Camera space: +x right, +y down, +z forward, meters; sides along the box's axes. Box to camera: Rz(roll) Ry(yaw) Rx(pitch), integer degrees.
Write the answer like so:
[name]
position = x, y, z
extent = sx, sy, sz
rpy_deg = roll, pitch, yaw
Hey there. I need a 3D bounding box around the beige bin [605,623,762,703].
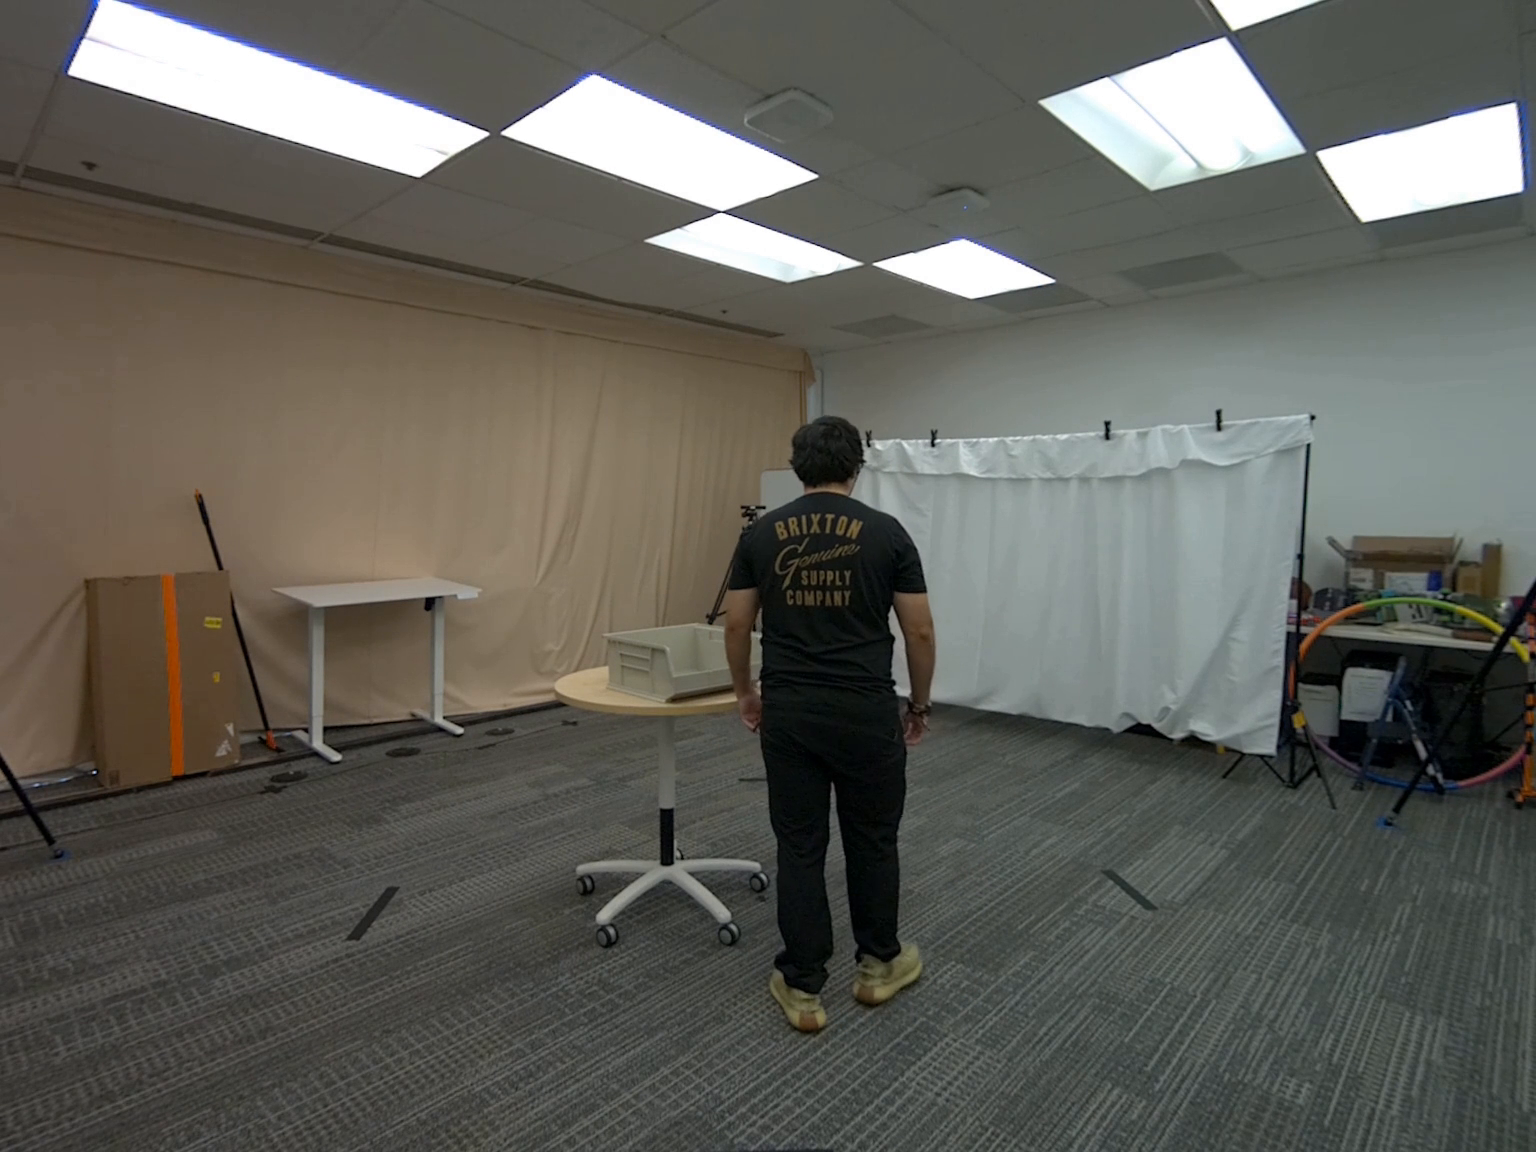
[beige bin]
position = -0.273, 0.288, 2.823
extent = 0.409, 0.189, 0.390
rpy_deg = -4, 5, -44
